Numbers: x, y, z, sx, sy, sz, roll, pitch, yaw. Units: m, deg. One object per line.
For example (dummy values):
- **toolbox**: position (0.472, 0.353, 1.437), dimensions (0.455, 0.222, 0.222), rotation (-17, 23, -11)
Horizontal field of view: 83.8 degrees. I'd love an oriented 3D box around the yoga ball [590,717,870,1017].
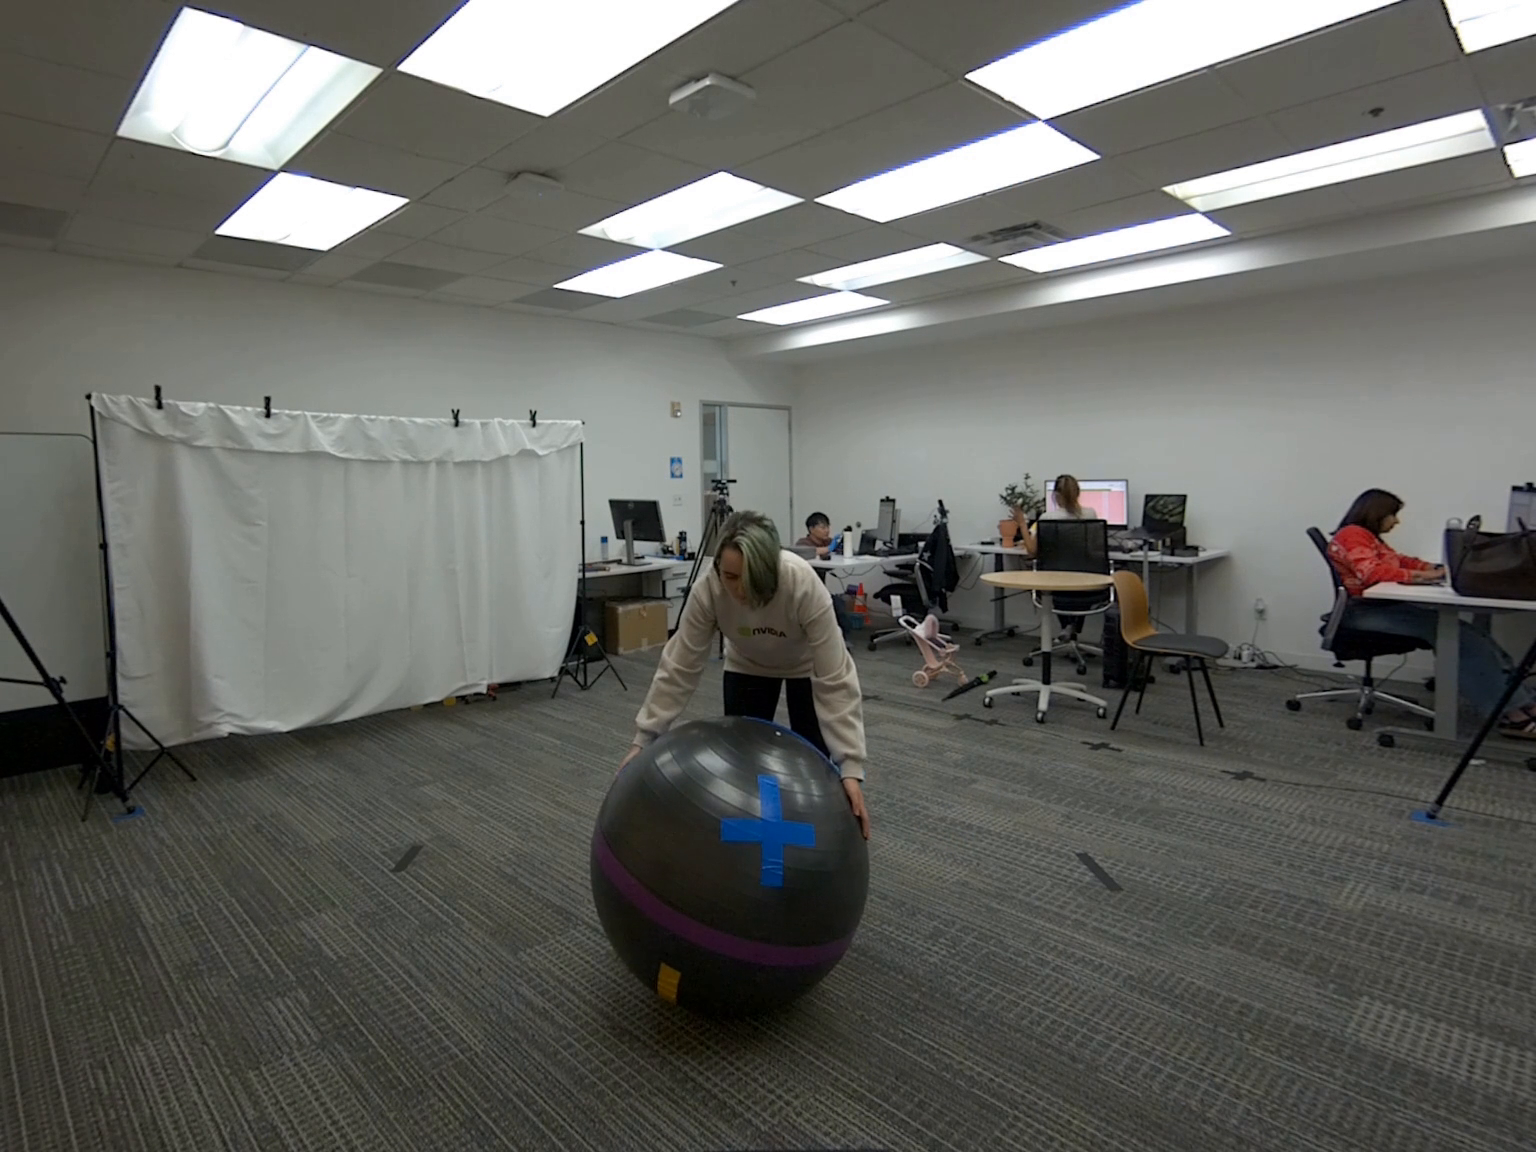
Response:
- **yoga ball**: position (-0.101, 0.769, 2.318), dimensions (0.757, 0.755, 0.762), rotation (-1, 5, -2)
